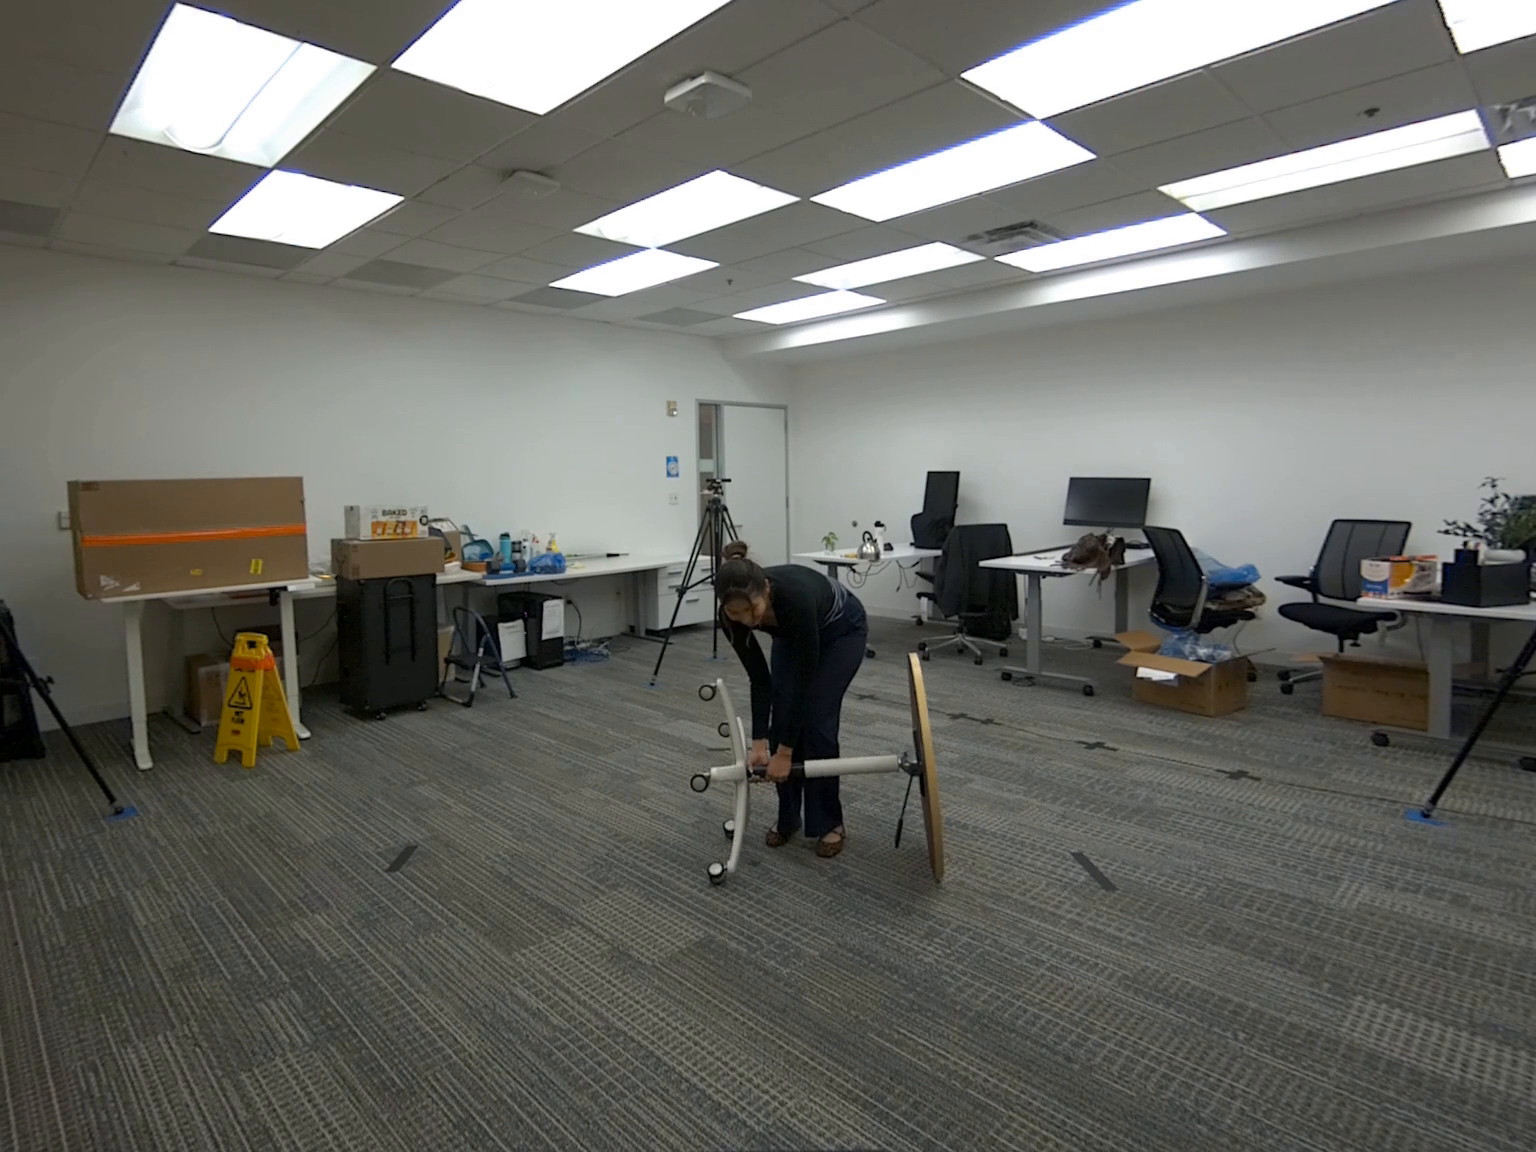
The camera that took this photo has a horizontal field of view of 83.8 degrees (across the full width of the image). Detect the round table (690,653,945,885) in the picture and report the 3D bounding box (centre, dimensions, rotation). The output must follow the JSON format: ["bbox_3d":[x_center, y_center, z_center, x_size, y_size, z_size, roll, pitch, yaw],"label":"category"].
[{"bbox_3d":[0.176,0.694,3.090,0.800,0.761,0.761,-6,4,8],"label":"round table"}]
